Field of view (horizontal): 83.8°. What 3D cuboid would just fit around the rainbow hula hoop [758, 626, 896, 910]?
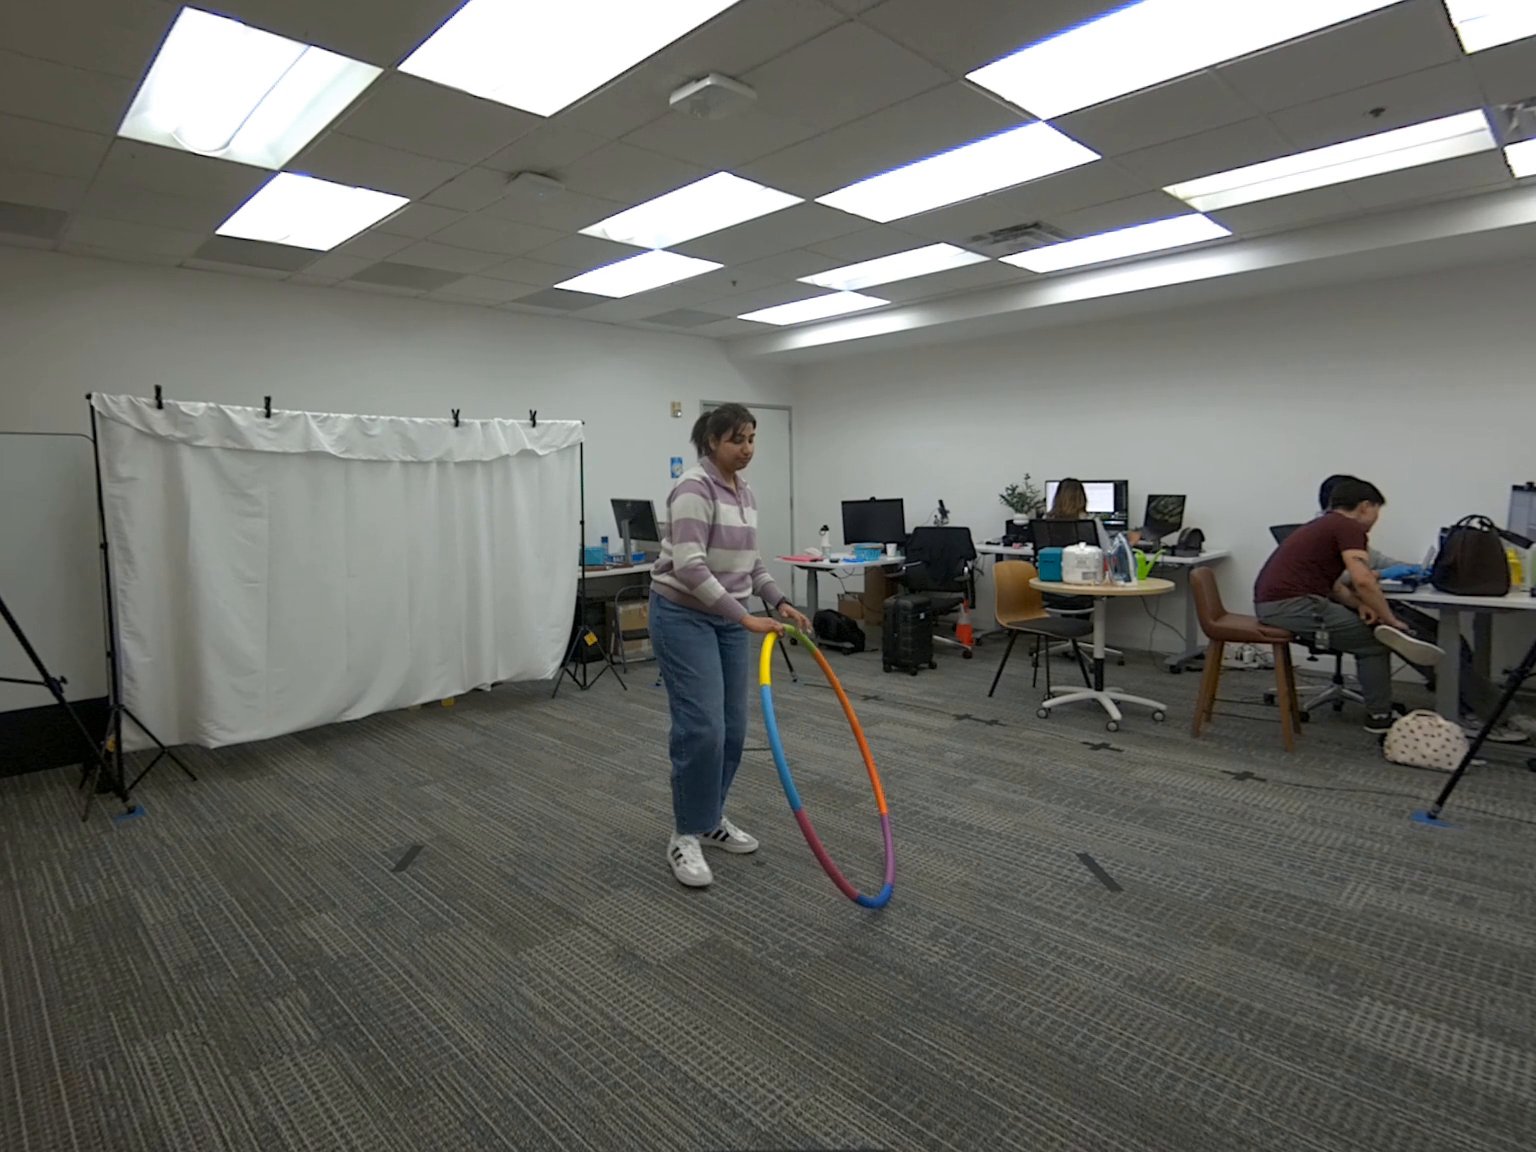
[{"bbox_3d":[0.212,0.621,2.917,0.036,0.983,0.967,-26,-2,16],"label":"rainbow hula hoop"}]
